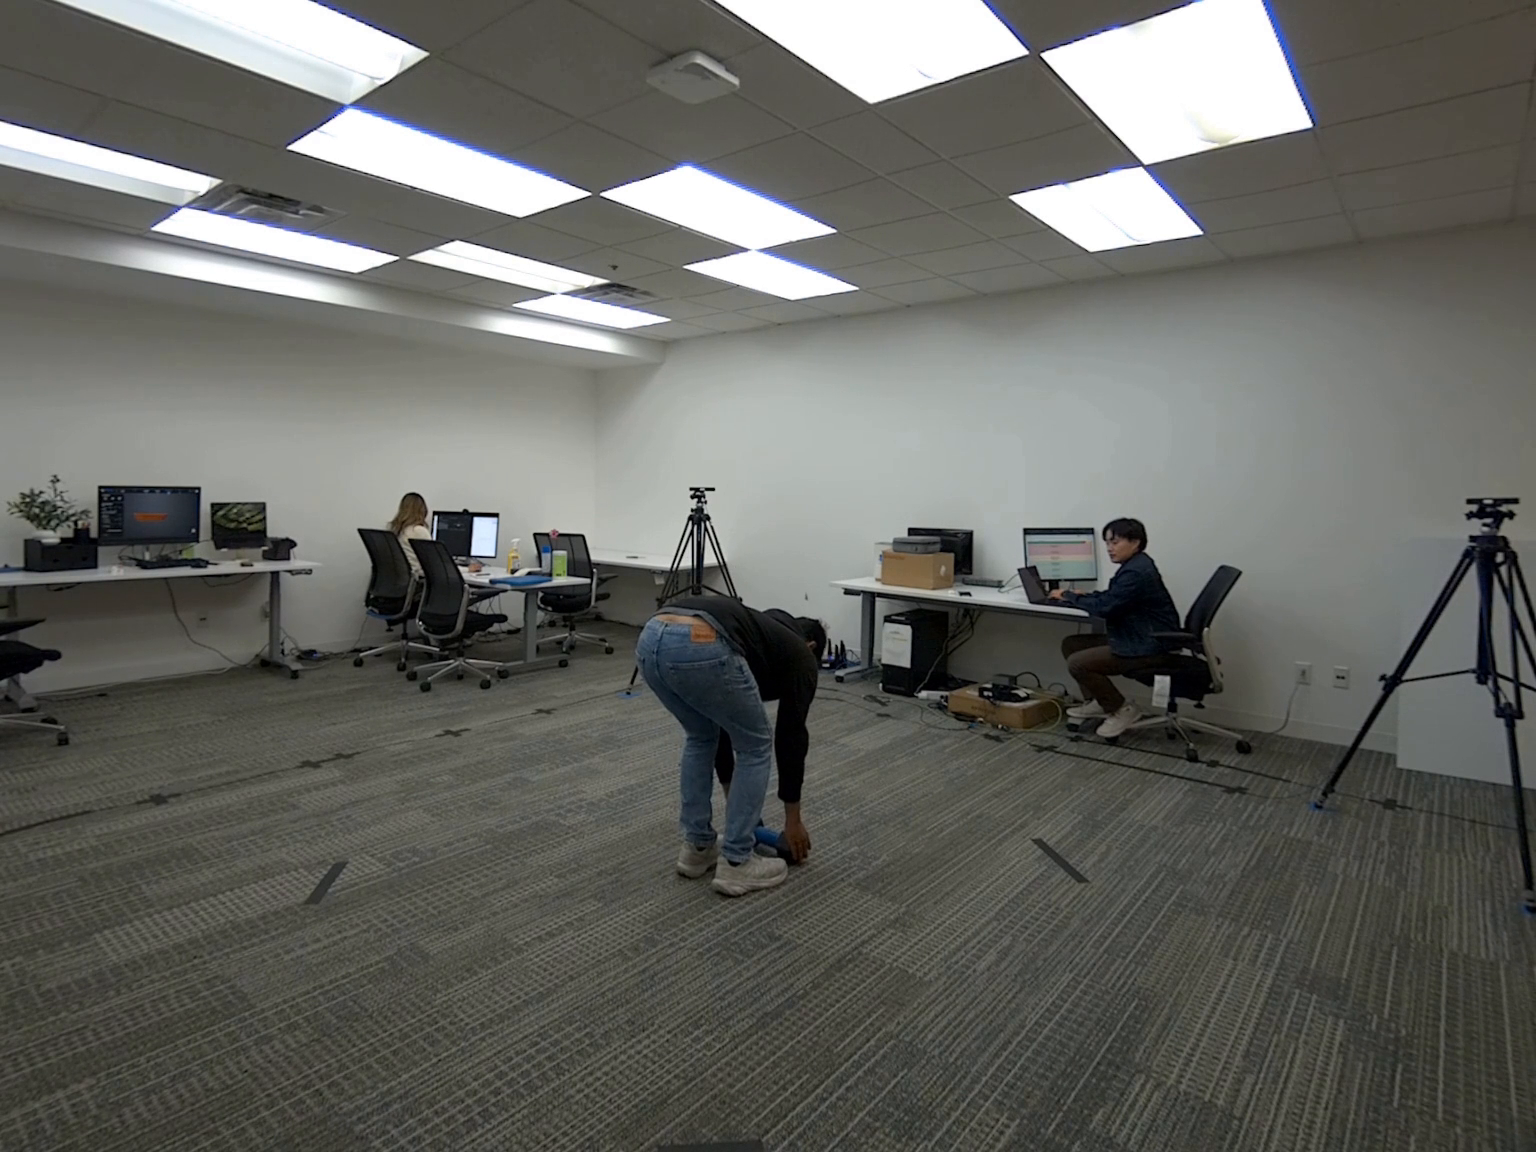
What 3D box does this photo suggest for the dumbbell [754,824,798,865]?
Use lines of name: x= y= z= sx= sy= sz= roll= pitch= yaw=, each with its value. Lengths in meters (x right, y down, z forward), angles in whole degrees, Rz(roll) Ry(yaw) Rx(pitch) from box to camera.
dumbbell: x=-0.001 y=1.000 z=3.248 sx=0.304 sy=0.124 sz=0.104 roll=6 pitch=-34 yaw=41
